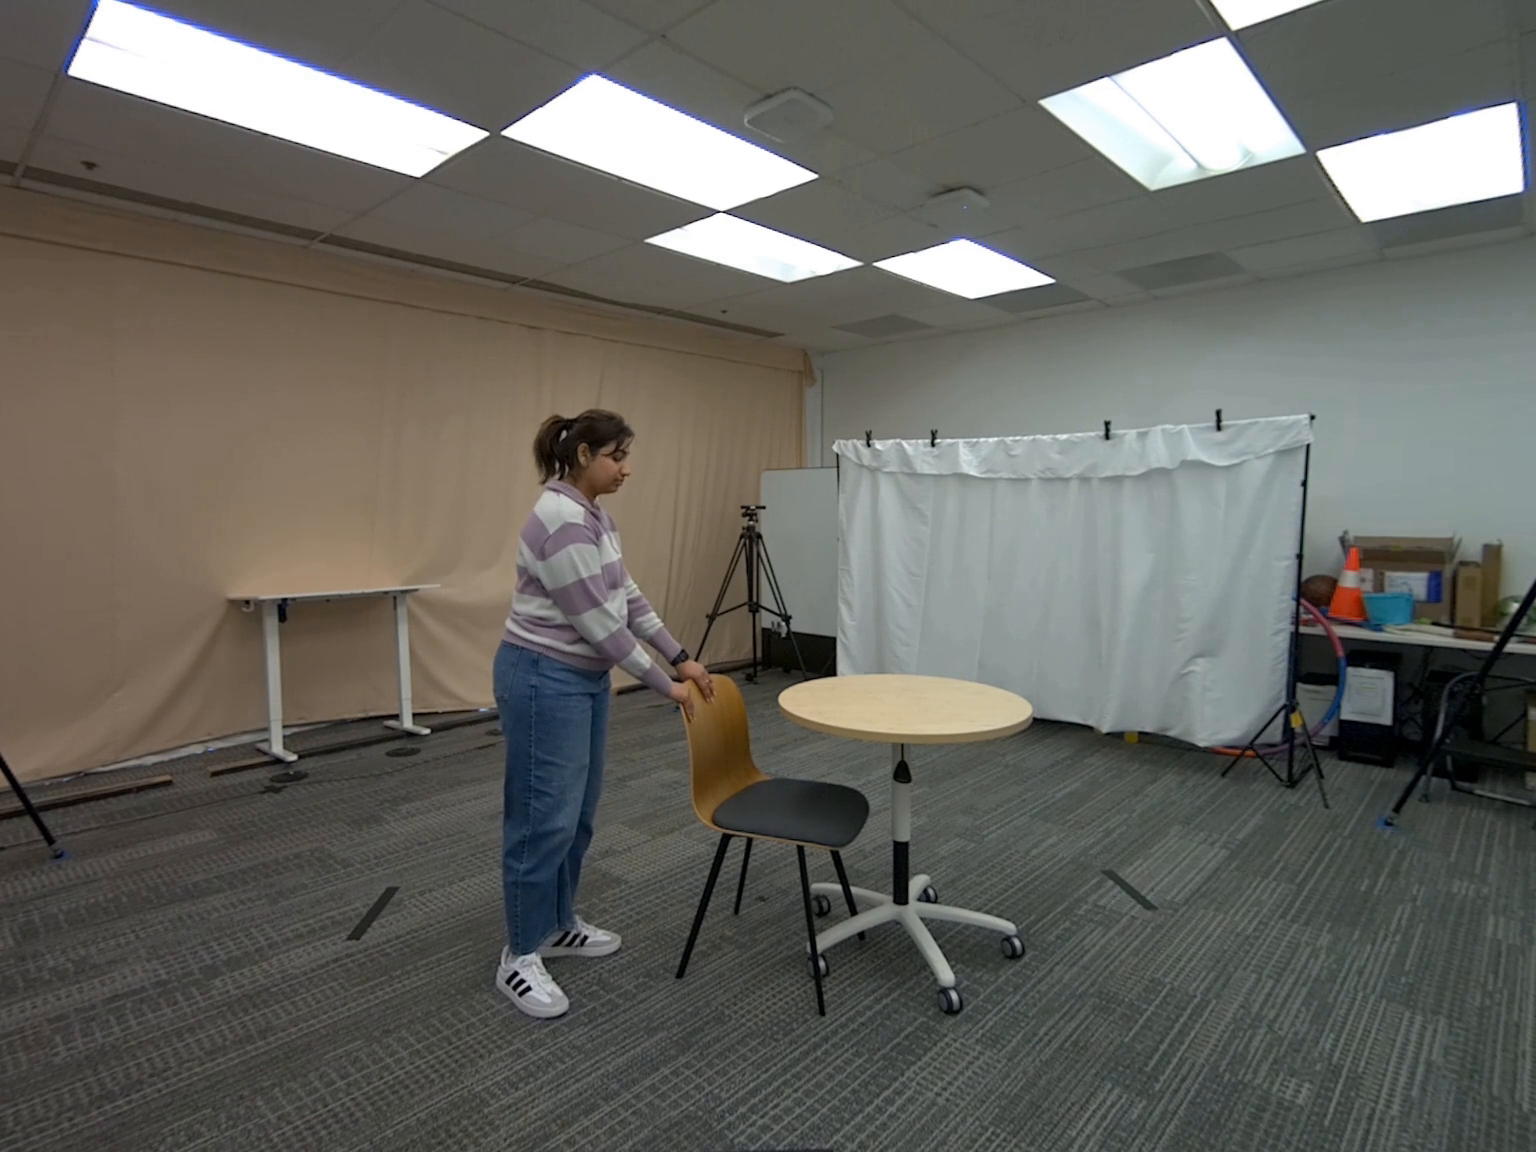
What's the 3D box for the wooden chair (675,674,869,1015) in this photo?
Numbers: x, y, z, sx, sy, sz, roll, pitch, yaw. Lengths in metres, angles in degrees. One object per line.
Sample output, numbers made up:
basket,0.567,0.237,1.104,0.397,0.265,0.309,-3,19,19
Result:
wooden chair,0.029,0.755,2.560,0.535,0.876,0.467,-3,2,24
